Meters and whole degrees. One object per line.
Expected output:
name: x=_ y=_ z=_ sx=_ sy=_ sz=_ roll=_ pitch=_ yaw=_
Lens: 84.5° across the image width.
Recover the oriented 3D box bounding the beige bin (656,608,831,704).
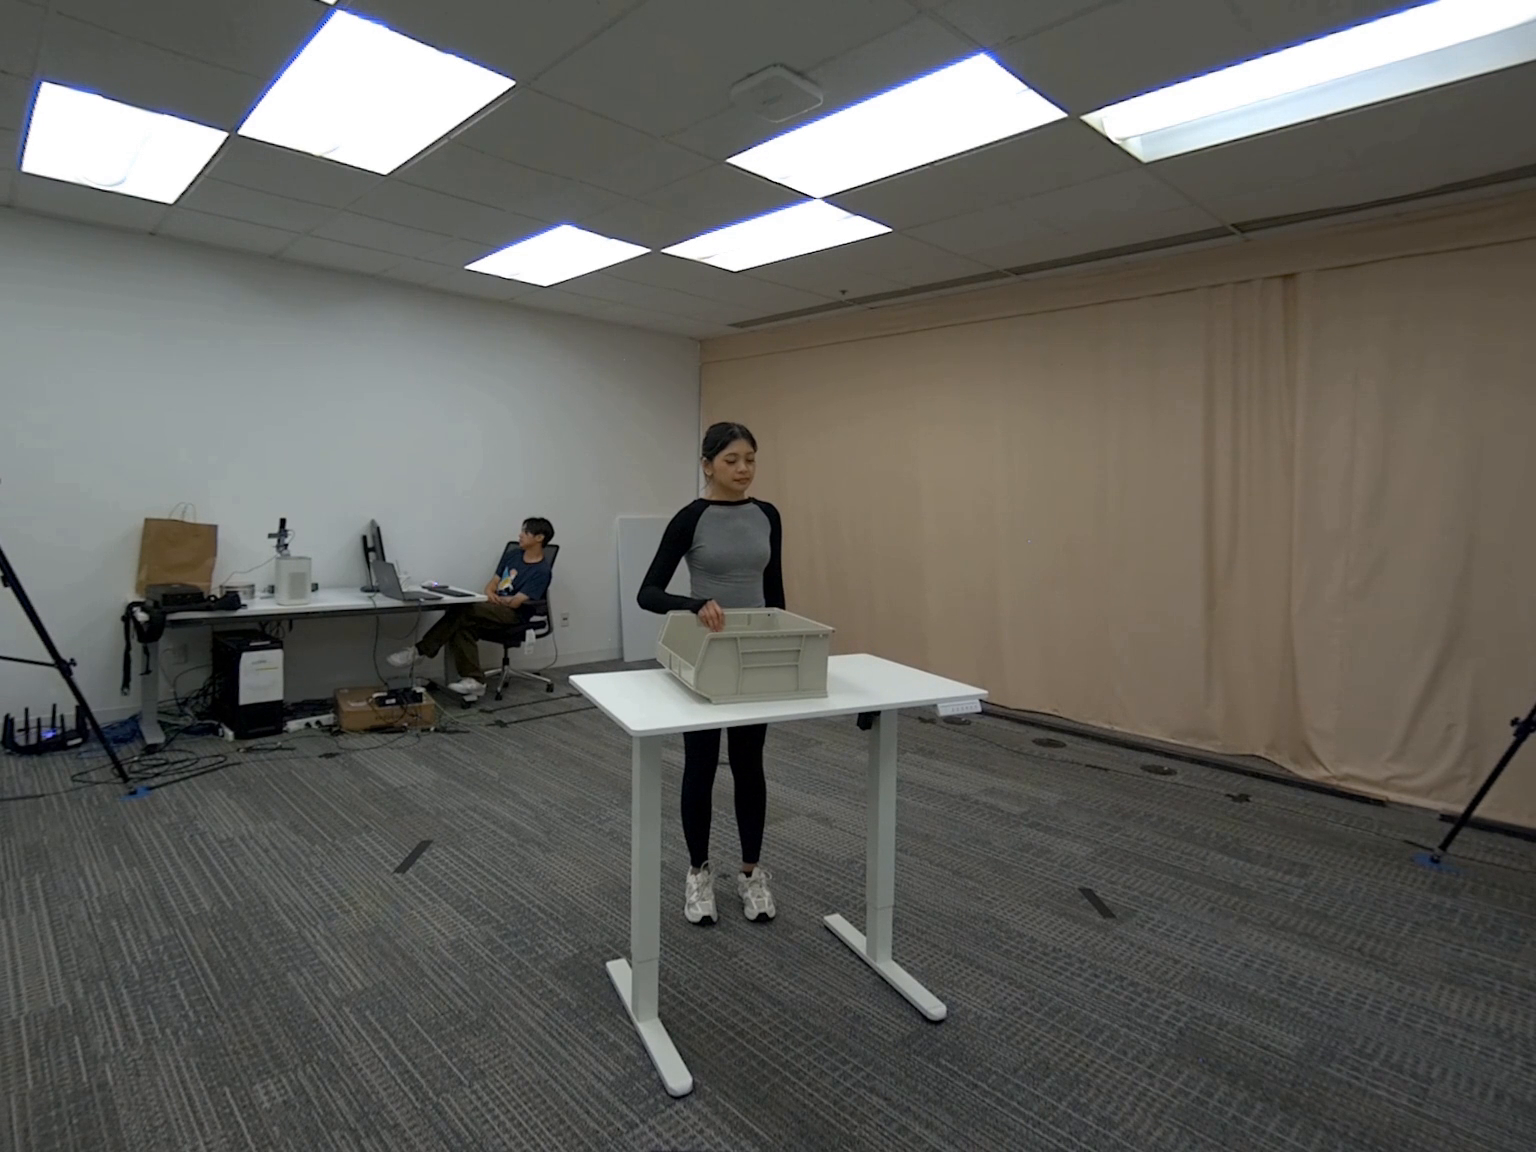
beige bin: x=-0.090 y=0.214 z=2.309 sx=0.372 sy=0.188 sz=0.429 roll=1 pitch=4 yaw=-19
